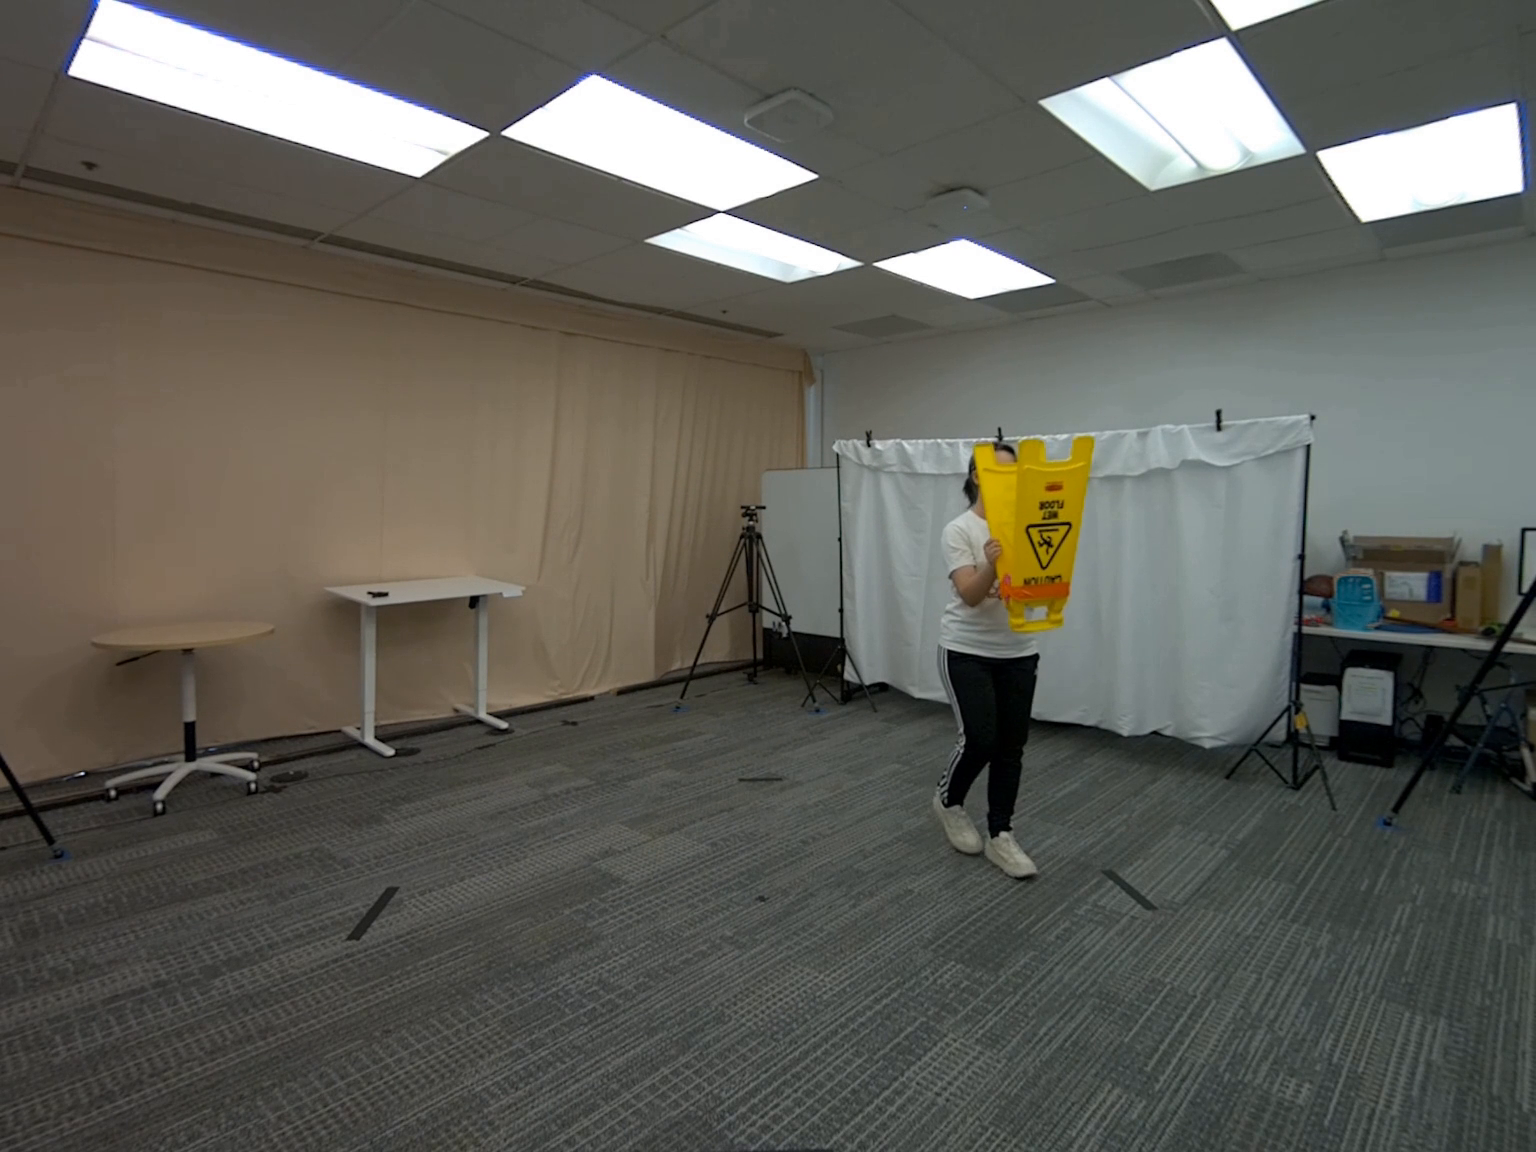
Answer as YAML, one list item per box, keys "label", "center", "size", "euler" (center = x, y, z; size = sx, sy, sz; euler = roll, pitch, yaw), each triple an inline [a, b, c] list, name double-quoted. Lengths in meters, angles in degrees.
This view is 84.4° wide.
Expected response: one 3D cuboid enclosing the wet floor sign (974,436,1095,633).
- label: "wet floor sign"
  center: [0.901, -0.131, 2.859]
  size: [0.278, 0.643, 0.295]
  euler: [-5, 6, -16]
